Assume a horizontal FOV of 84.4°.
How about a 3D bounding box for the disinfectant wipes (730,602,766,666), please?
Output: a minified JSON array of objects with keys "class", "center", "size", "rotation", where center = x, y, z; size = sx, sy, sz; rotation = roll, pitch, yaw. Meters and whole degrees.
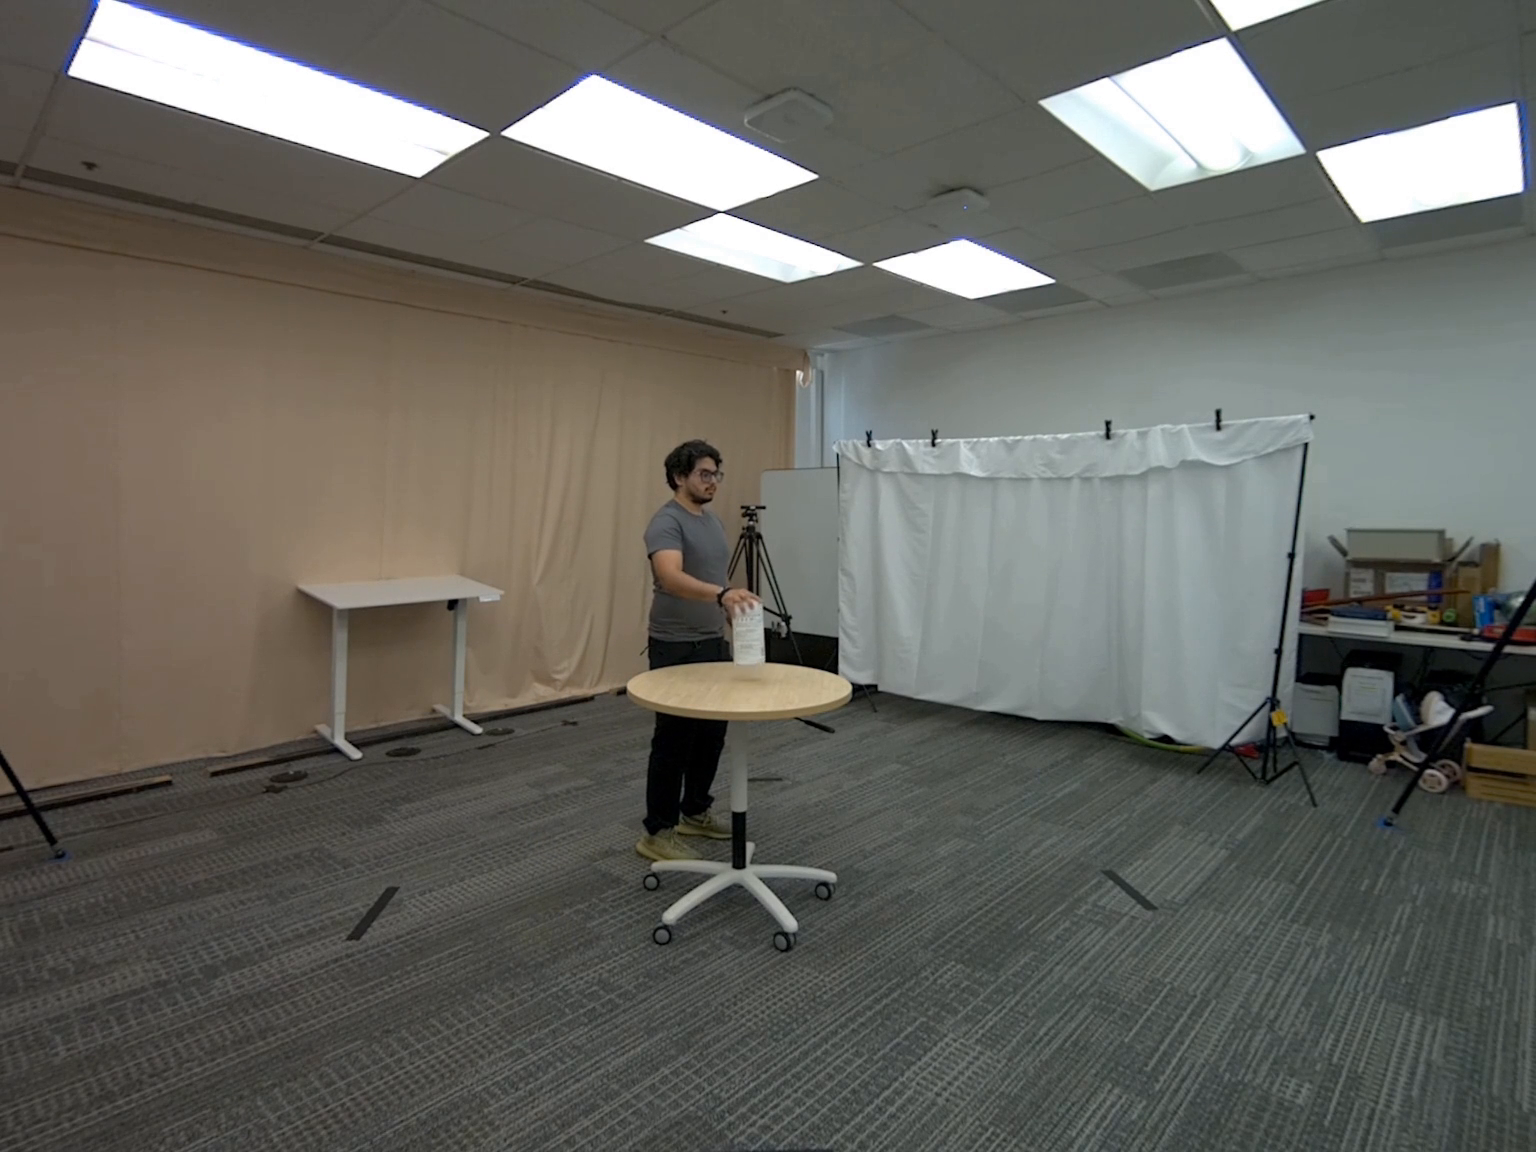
[{"class":"disinfectant wipes","center":[-0.062,0.194,2.923],"size":[0.118,0.217,0.118],"rotation":[-2,2,-2]}]
